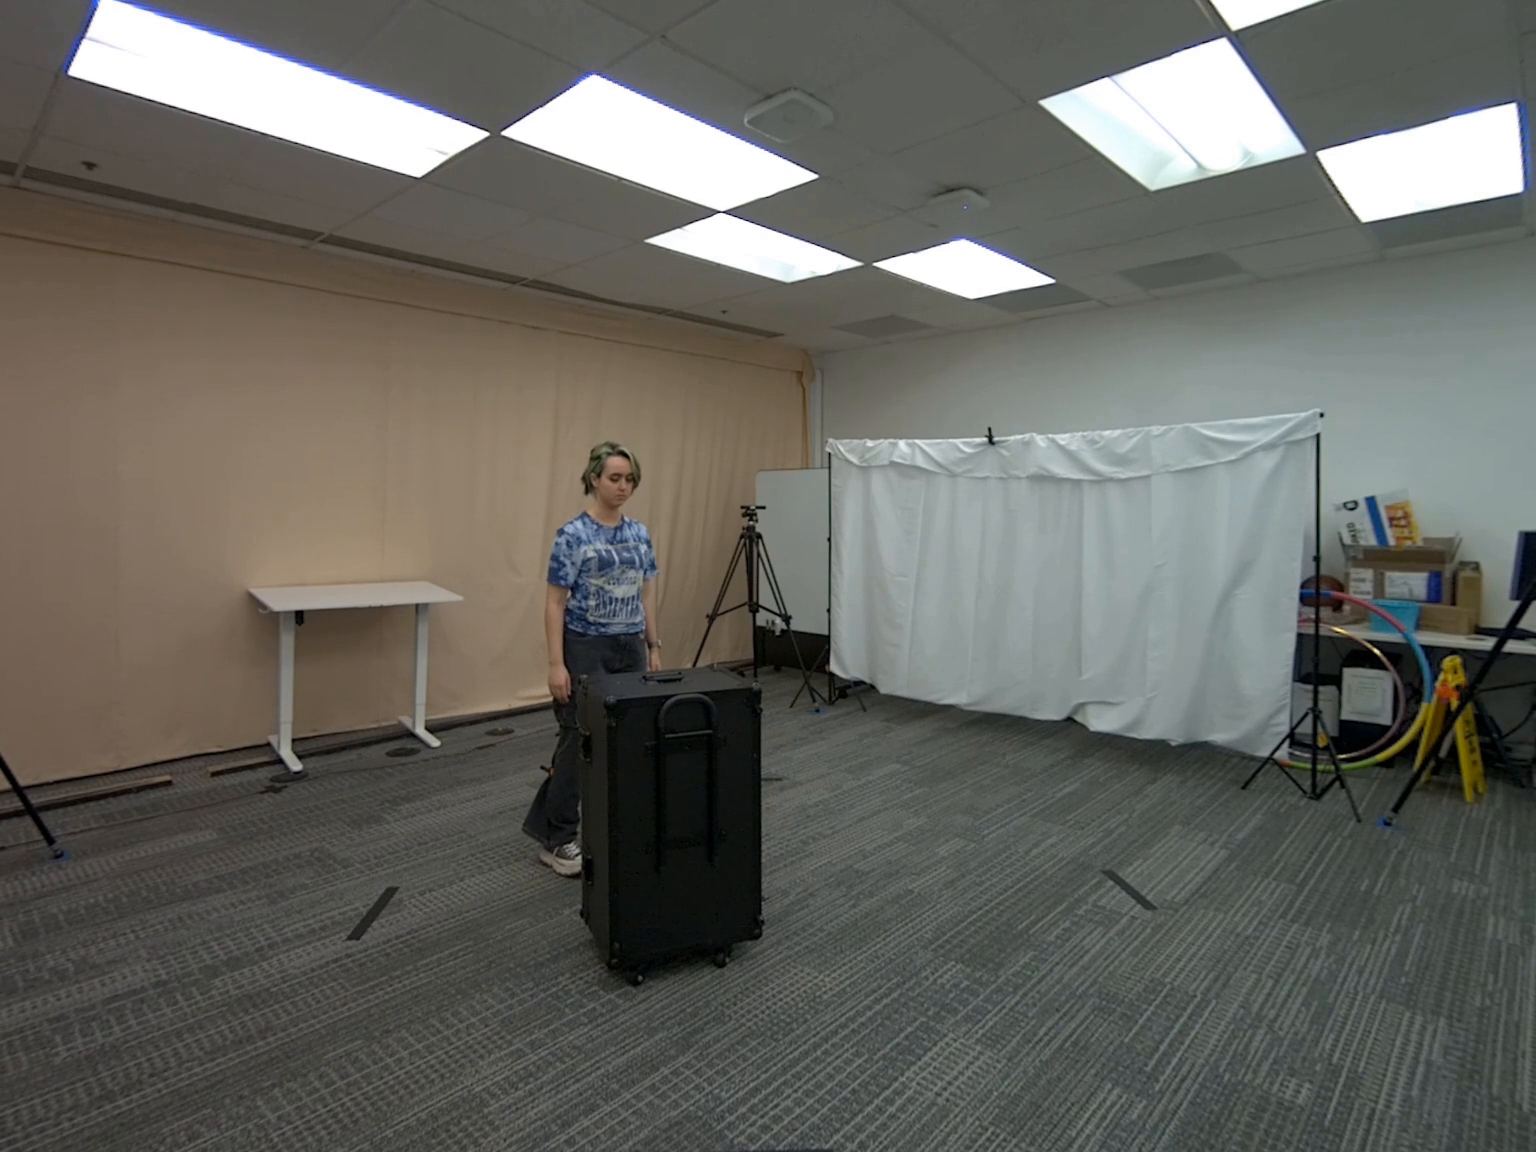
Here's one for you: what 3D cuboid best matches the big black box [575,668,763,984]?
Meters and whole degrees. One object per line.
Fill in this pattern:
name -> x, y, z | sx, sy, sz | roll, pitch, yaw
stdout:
big black box -> -0.308, 0.690, 2.615 | 0.509, 0.860, 0.406 | -1, 3, -24
